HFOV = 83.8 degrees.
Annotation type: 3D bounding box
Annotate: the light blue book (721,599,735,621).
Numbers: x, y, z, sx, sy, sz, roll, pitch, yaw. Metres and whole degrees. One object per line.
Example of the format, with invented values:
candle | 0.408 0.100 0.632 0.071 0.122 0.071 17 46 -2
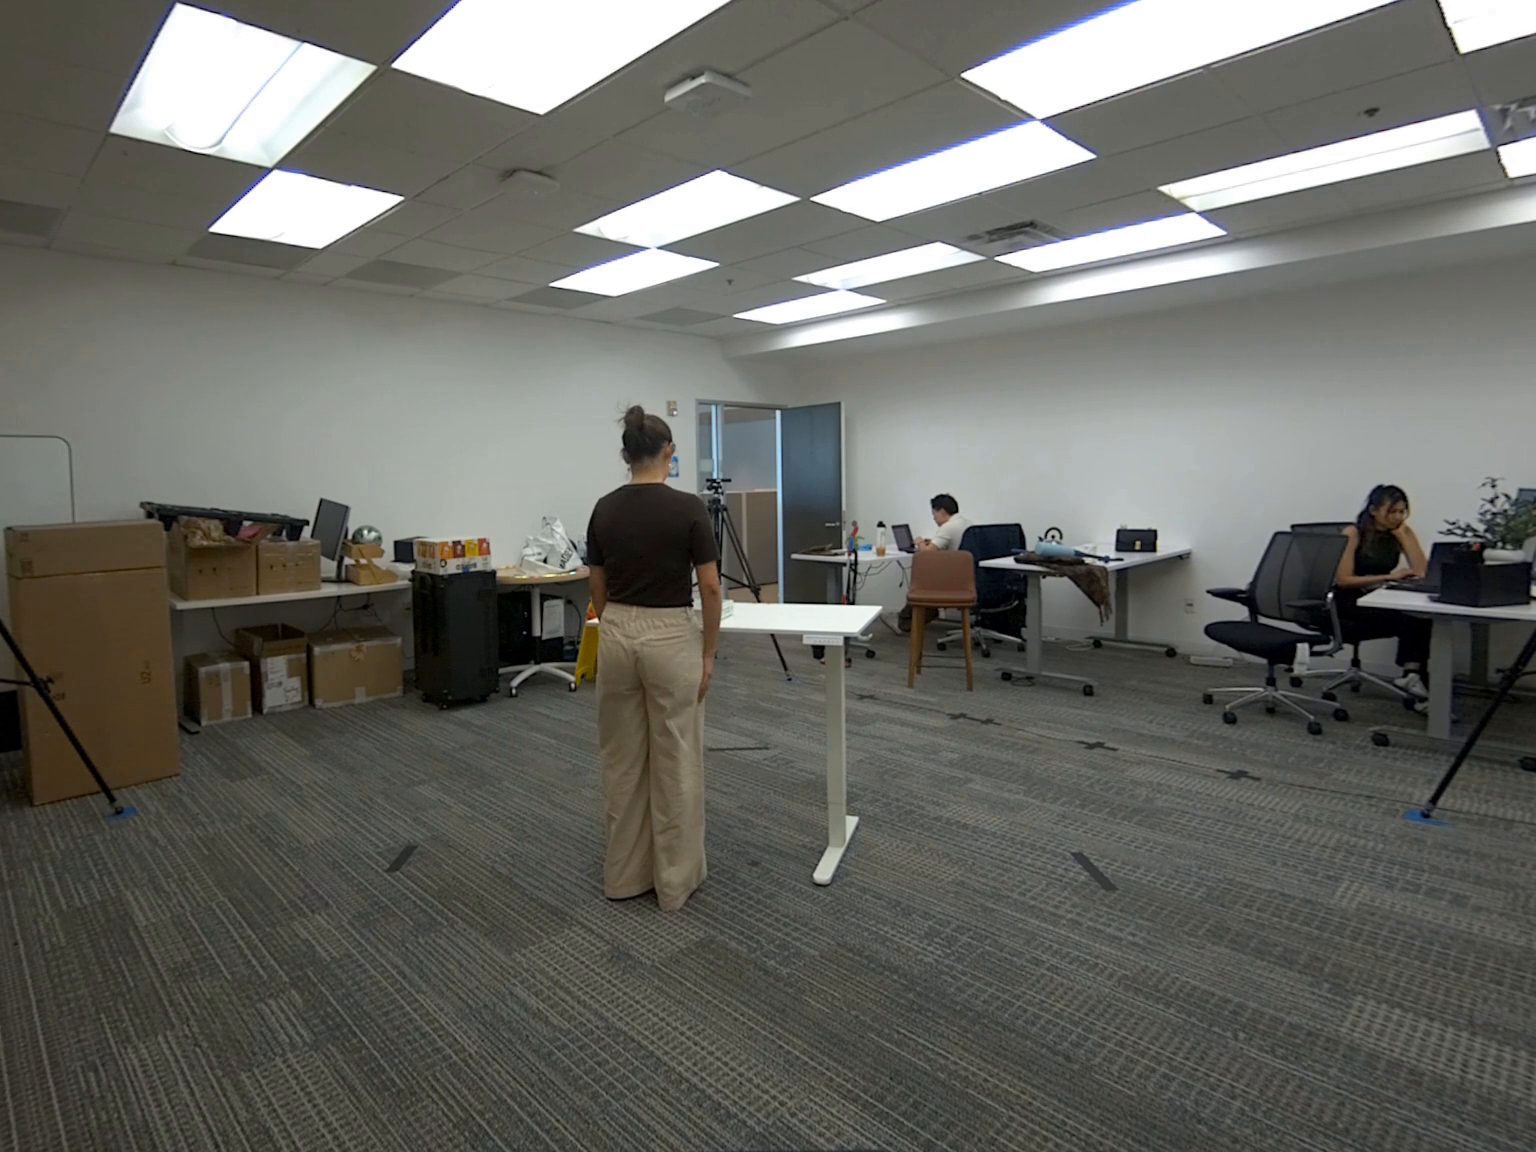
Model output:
light blue book | -0.263 0.131 3.152 0.194 0.059 0.258 0 6 16
